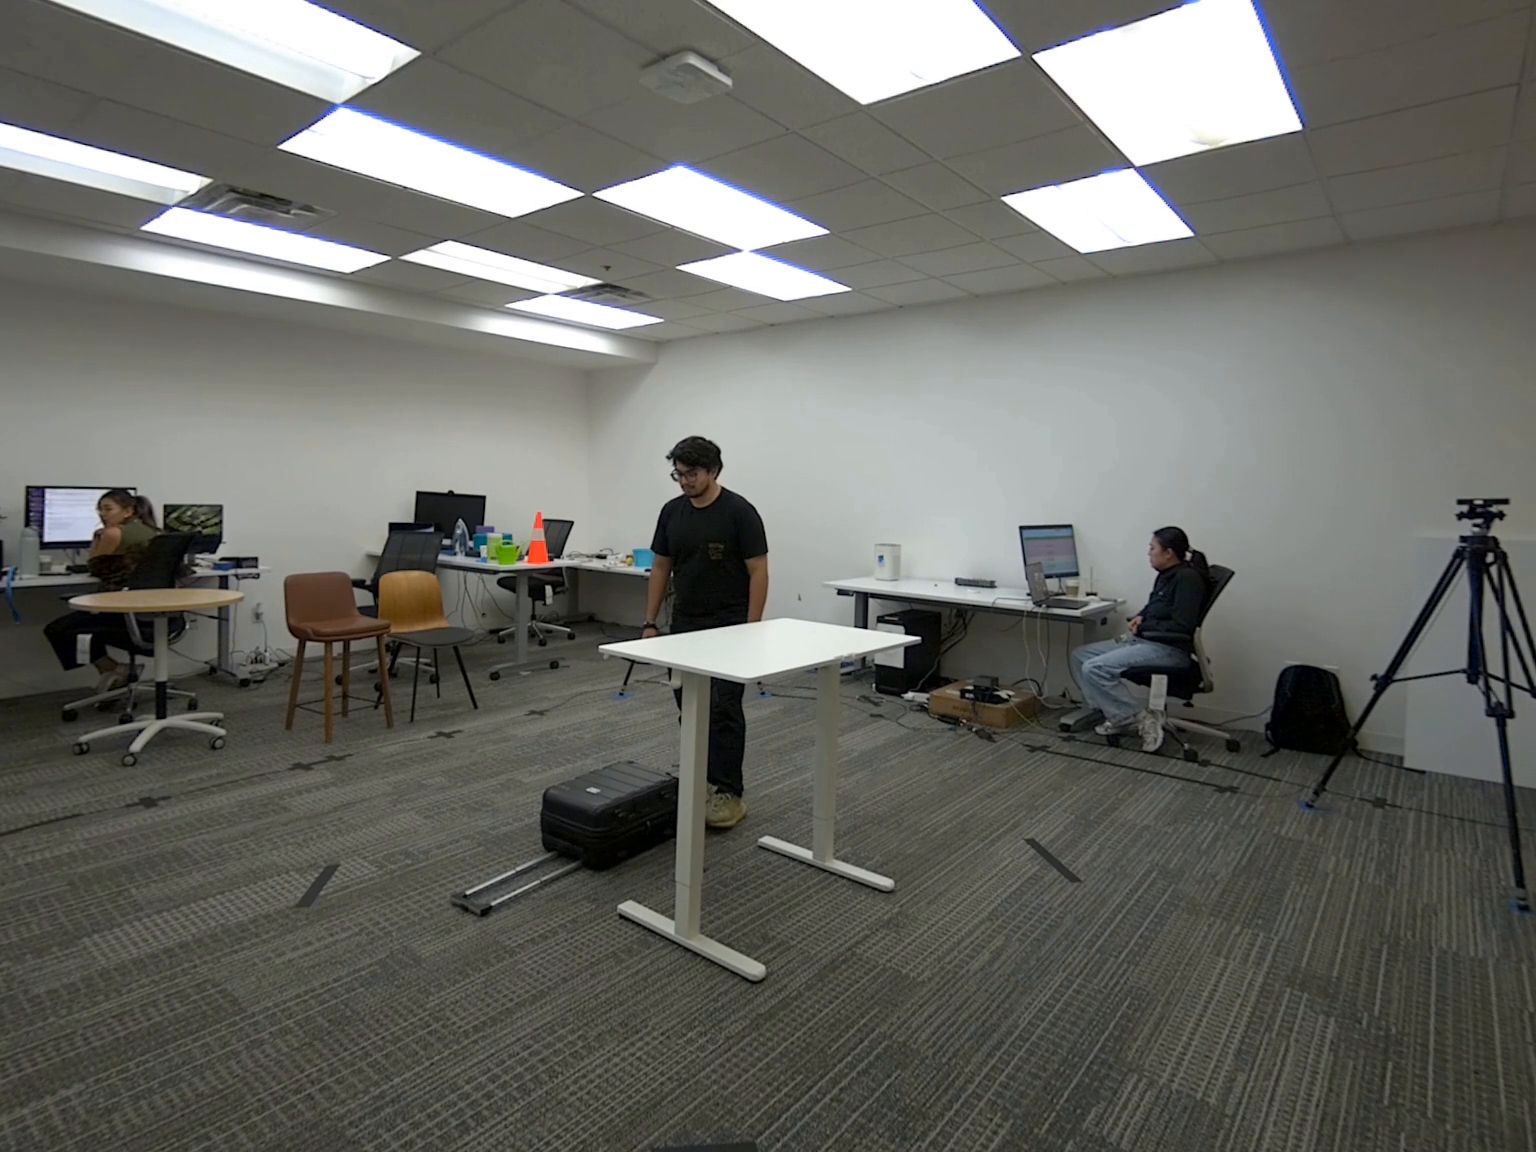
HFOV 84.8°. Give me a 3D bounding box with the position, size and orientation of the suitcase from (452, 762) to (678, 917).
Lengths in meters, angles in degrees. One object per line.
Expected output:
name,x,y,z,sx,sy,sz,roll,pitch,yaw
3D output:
suitcase,-0.728,0.932,3.166,0.396,0.256,0.950,6,6,34
